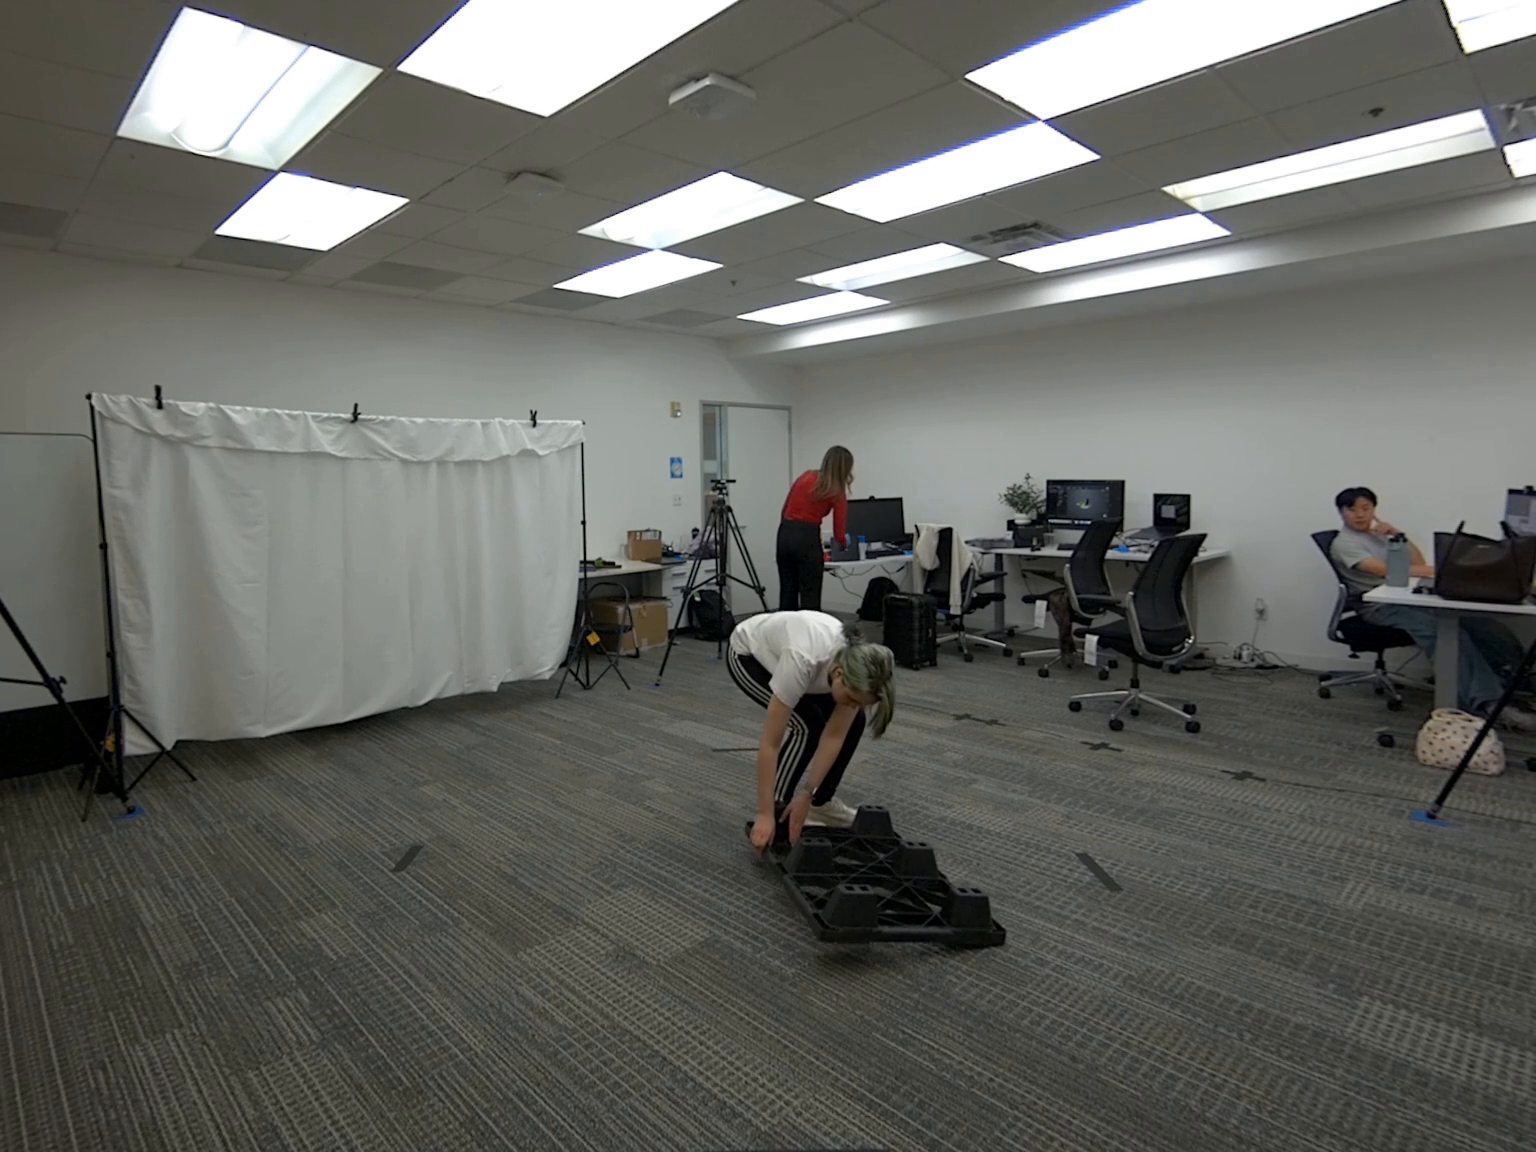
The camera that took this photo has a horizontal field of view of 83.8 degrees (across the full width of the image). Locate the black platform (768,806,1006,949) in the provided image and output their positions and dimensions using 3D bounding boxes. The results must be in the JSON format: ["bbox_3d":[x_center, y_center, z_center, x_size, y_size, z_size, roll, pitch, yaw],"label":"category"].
[{"bbox_3d":[0.325,0.954,2.849,0.595,0.143,0.821,6,4,-17],"label":"black platform"}]
